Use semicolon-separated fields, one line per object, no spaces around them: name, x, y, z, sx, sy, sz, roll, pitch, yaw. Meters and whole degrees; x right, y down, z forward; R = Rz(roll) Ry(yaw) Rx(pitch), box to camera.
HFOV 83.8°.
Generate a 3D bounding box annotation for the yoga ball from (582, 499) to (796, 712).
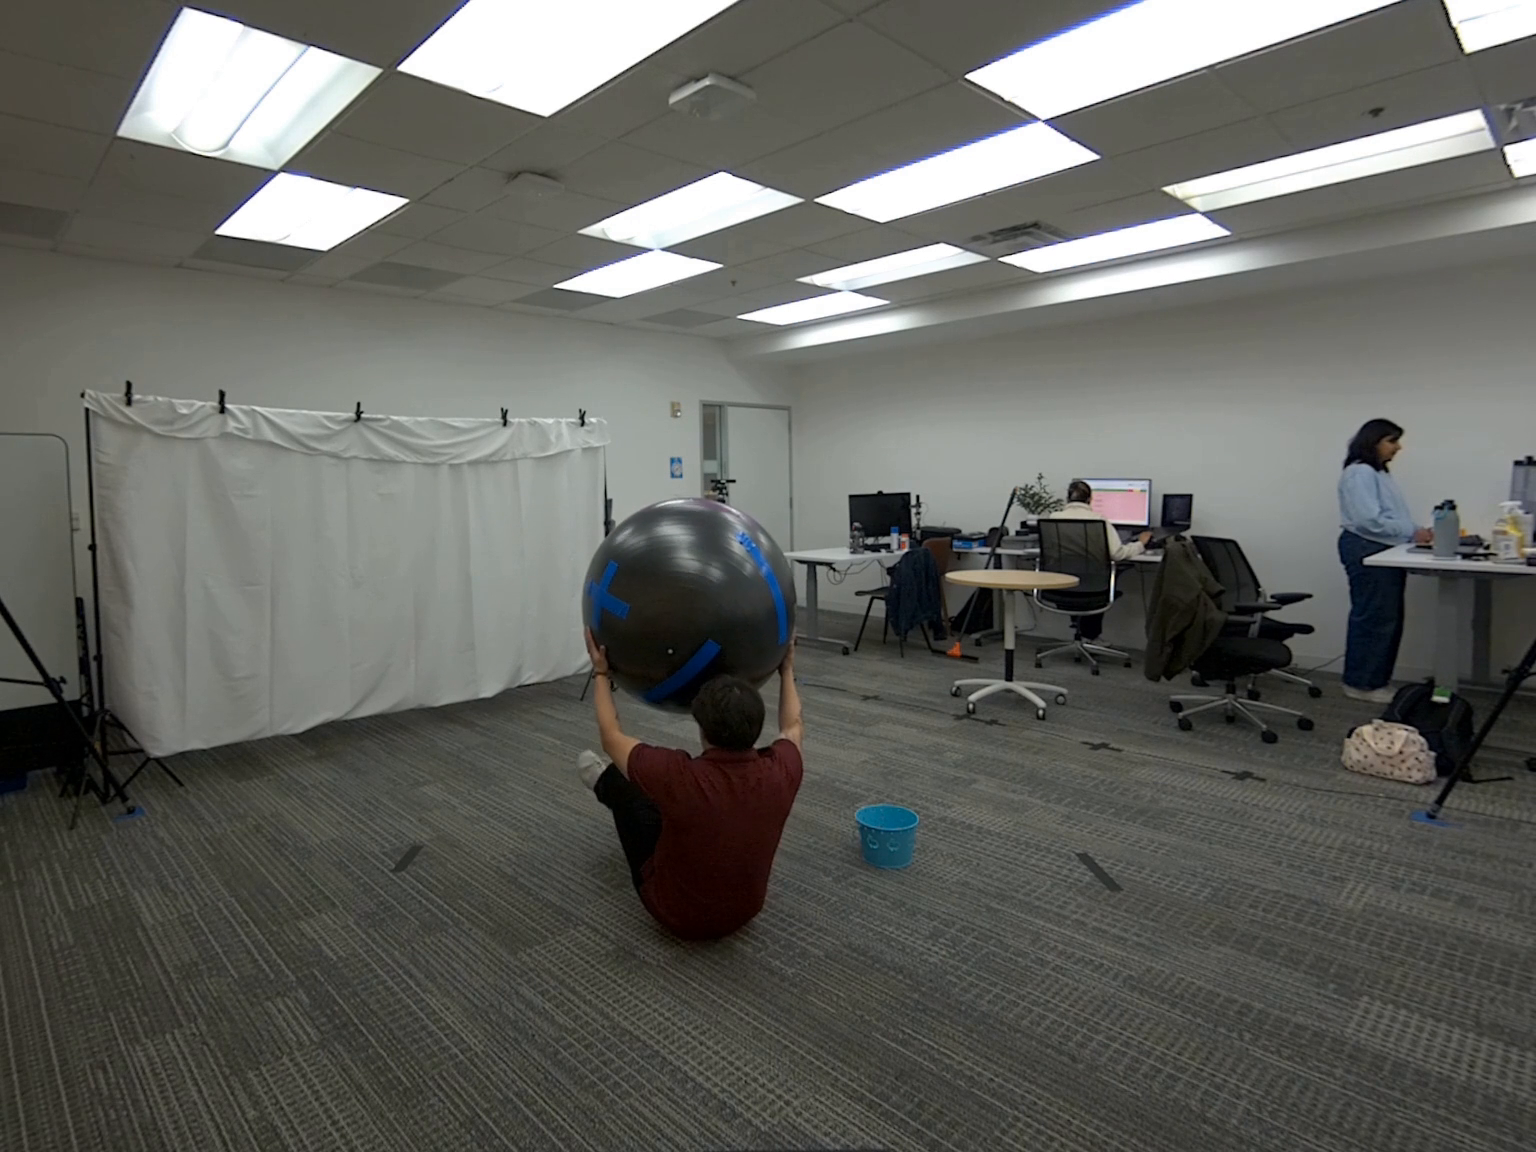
yoga ball;-0.279;0.112;3.046;0.757;0.755;0.762;-1;5;-2
